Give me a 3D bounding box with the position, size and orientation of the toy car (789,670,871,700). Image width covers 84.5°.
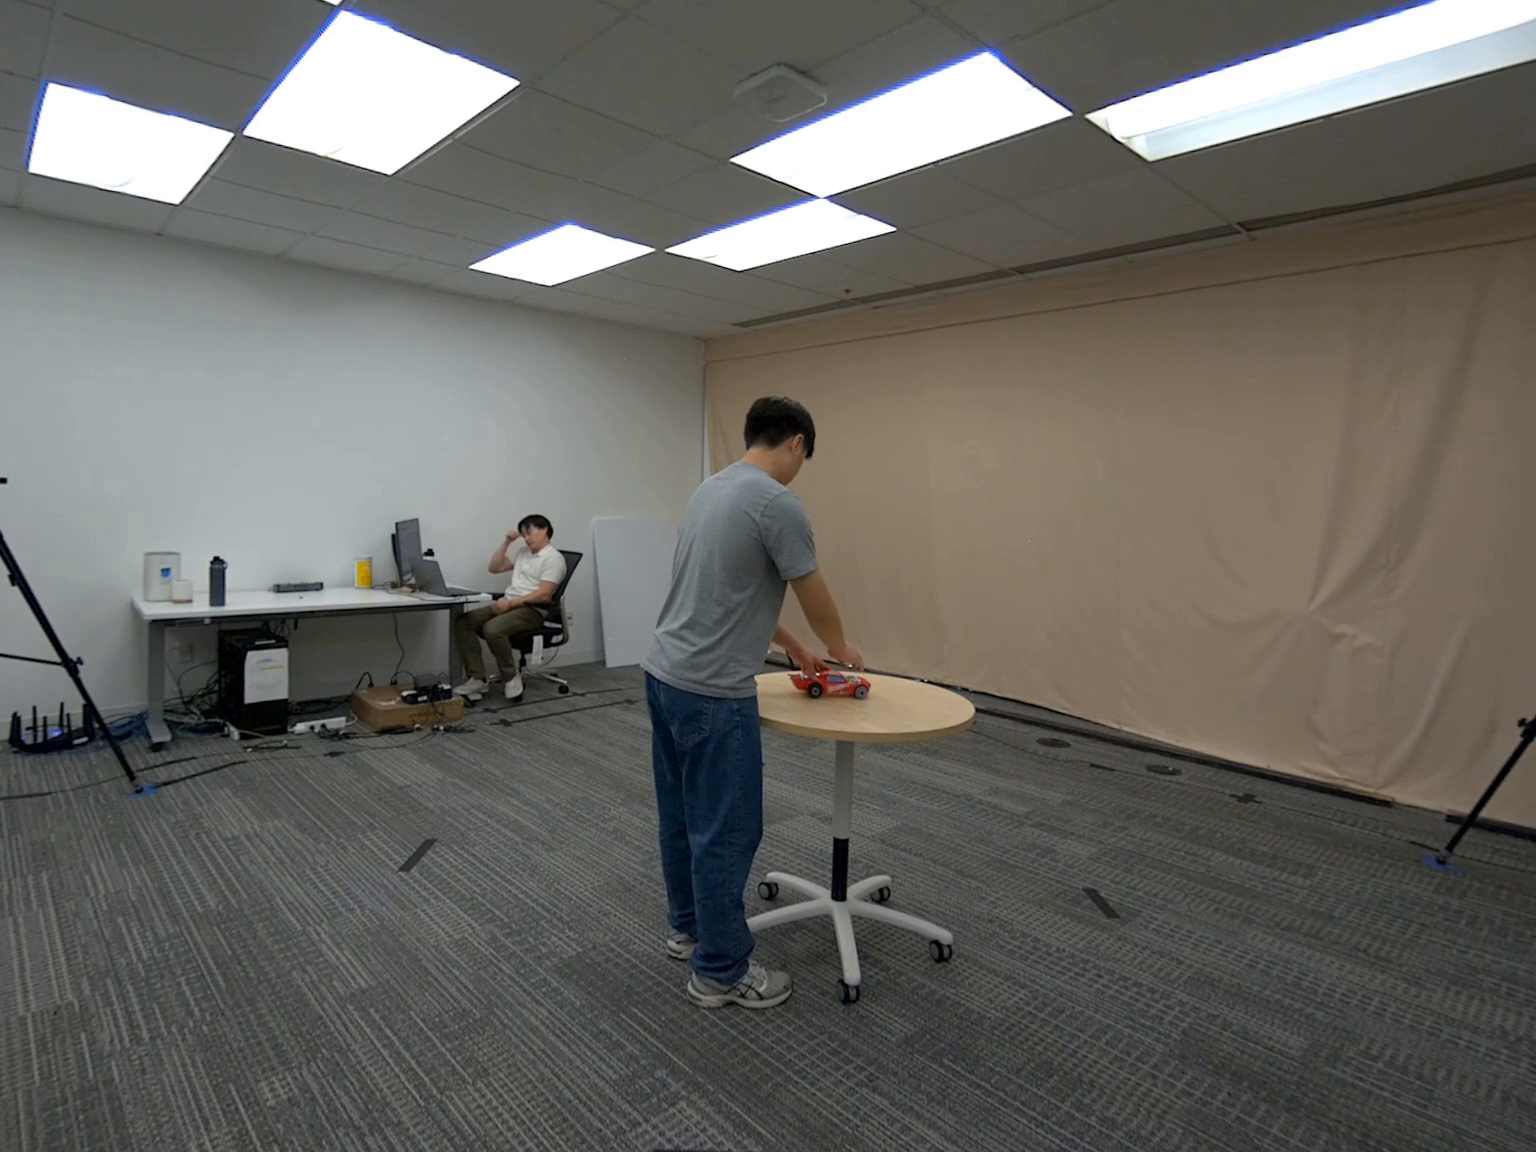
[{"bbox_3d":[0.190,0.344,2.627,0.253,0.083,0.131,13,4,-6],"label":"toy car"}]
